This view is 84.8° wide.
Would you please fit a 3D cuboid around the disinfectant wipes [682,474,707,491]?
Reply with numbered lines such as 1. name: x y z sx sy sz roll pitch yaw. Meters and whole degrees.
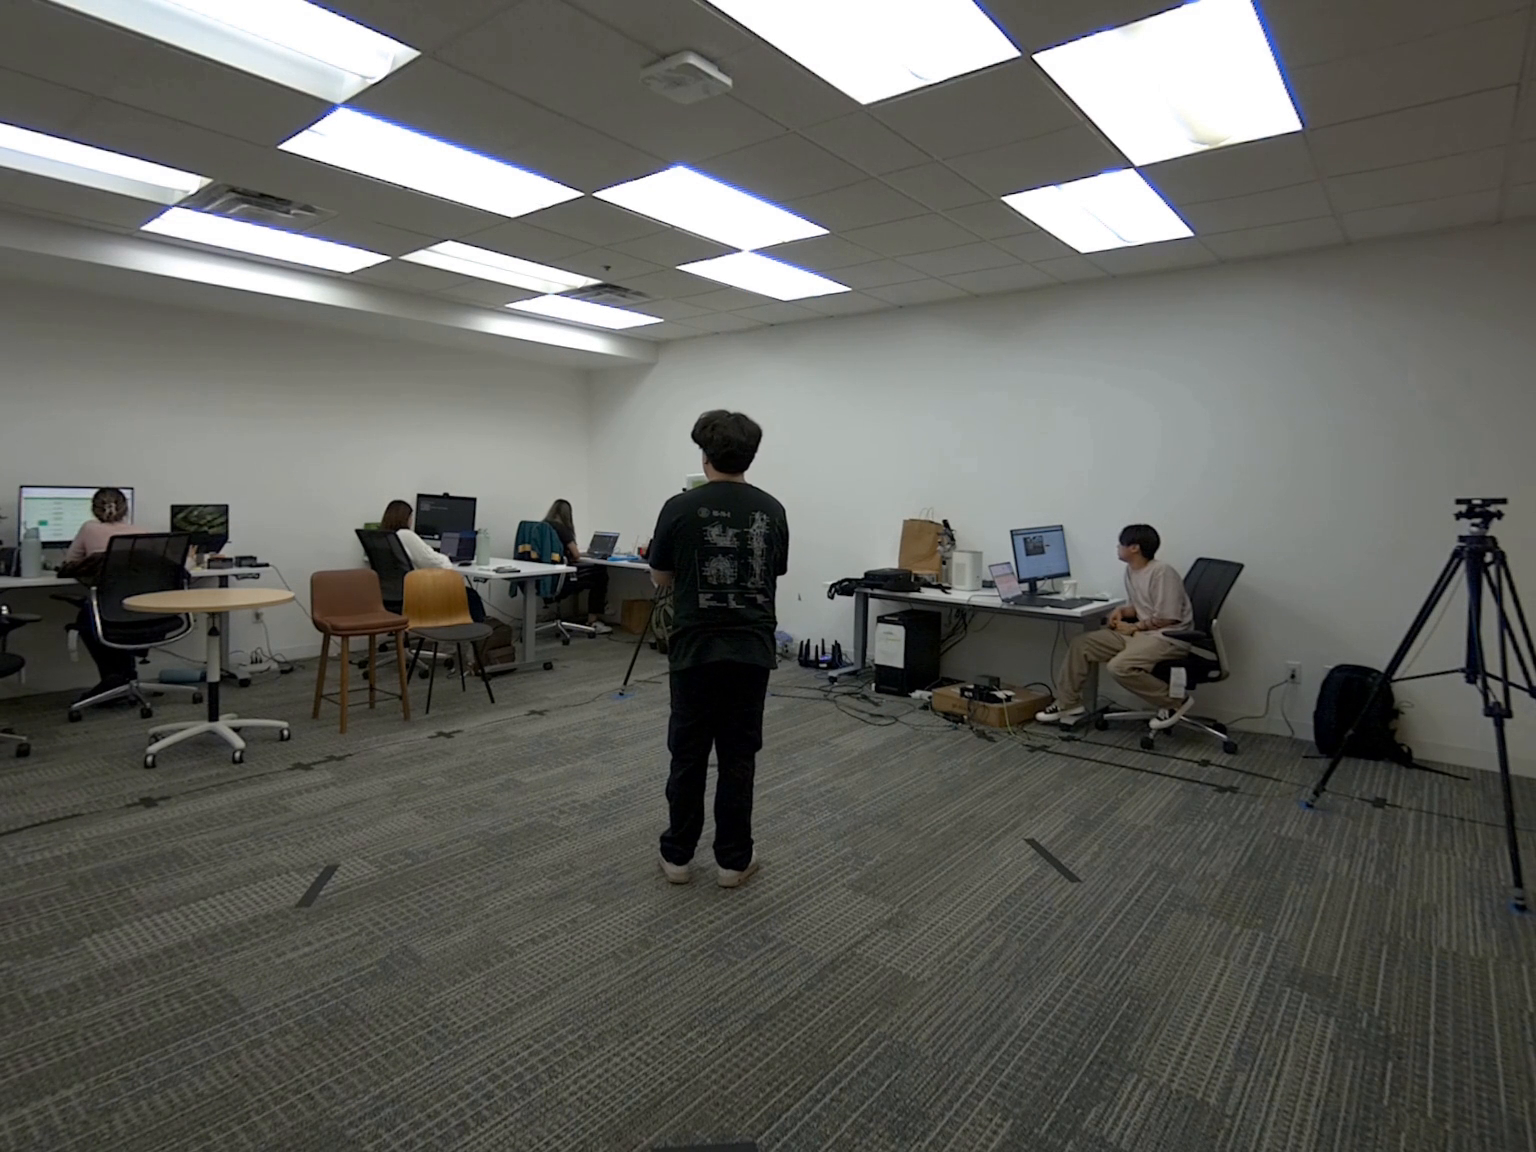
1. disinfectant wipes: -0.271 -0.295 3.343 0.118 0.216 0.118 -2 4 -2
